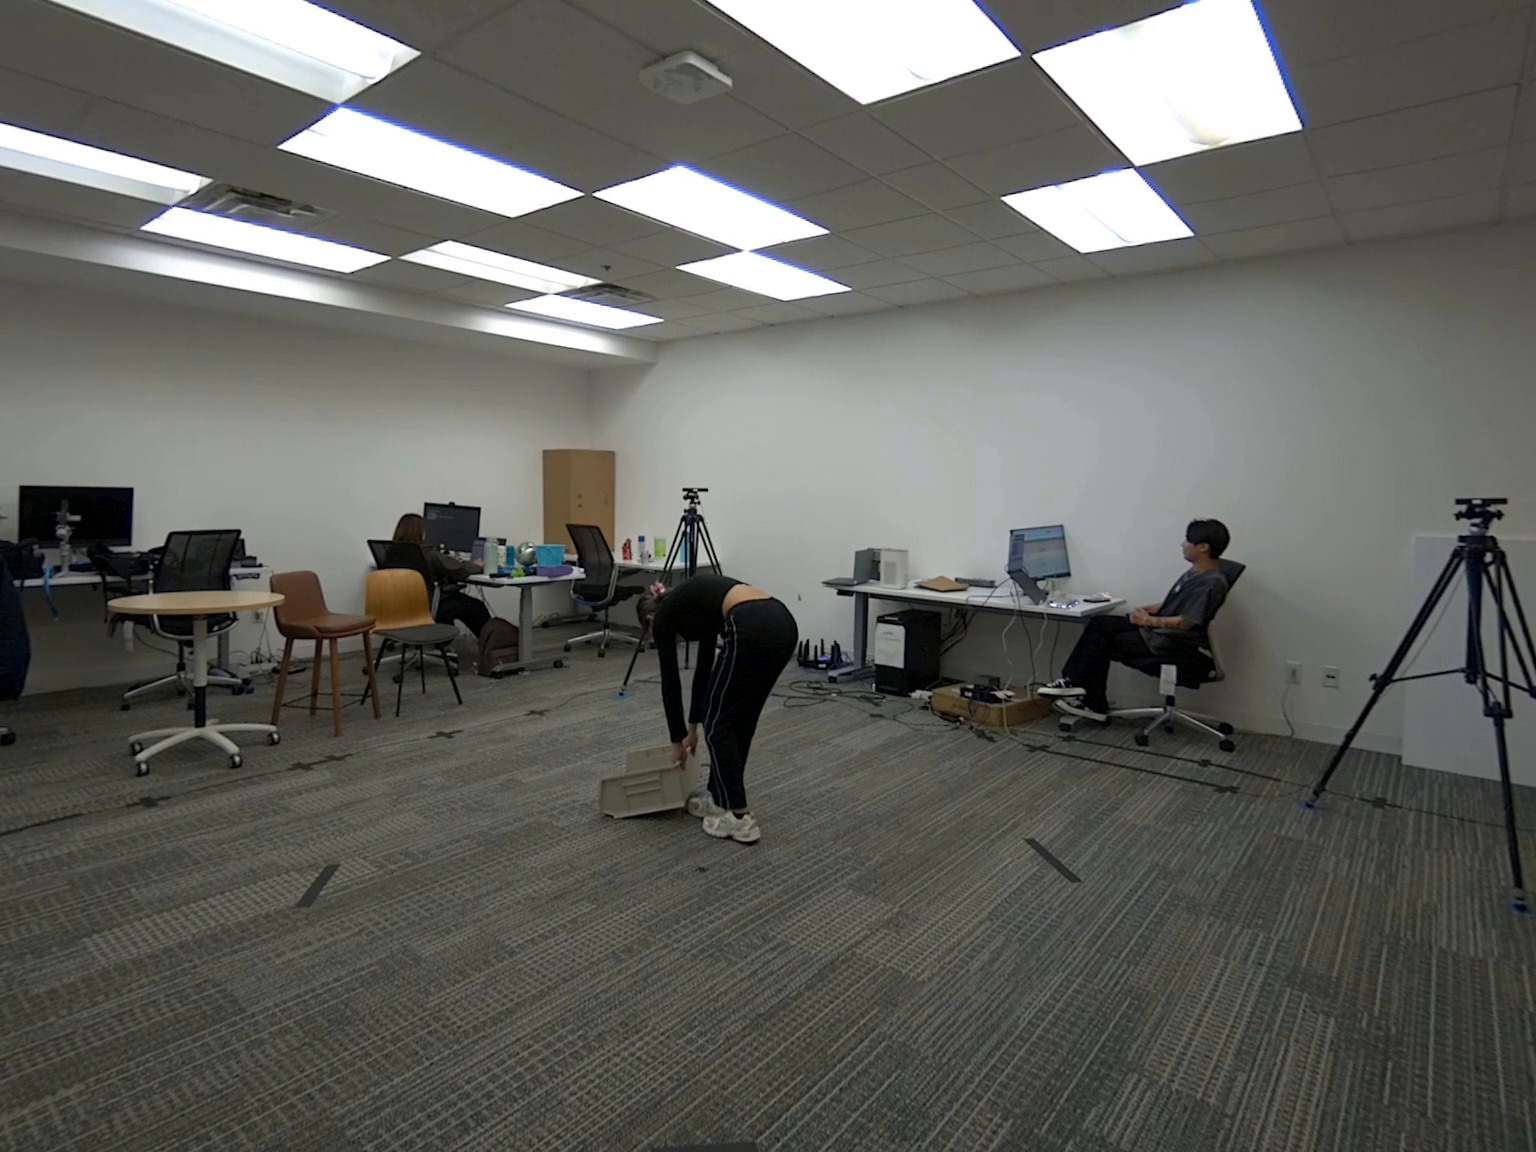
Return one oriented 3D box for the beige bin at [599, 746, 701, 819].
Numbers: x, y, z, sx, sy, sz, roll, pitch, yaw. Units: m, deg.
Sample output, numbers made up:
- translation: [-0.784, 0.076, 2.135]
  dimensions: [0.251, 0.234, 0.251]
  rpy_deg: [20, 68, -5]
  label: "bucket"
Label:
- translation: [-0.532, 0.877, 3.749]
  dimensions: [0.379, 0.189, 0.420]
  rpy_deg: [-8, 2, 5]
  label: "beige bin"
